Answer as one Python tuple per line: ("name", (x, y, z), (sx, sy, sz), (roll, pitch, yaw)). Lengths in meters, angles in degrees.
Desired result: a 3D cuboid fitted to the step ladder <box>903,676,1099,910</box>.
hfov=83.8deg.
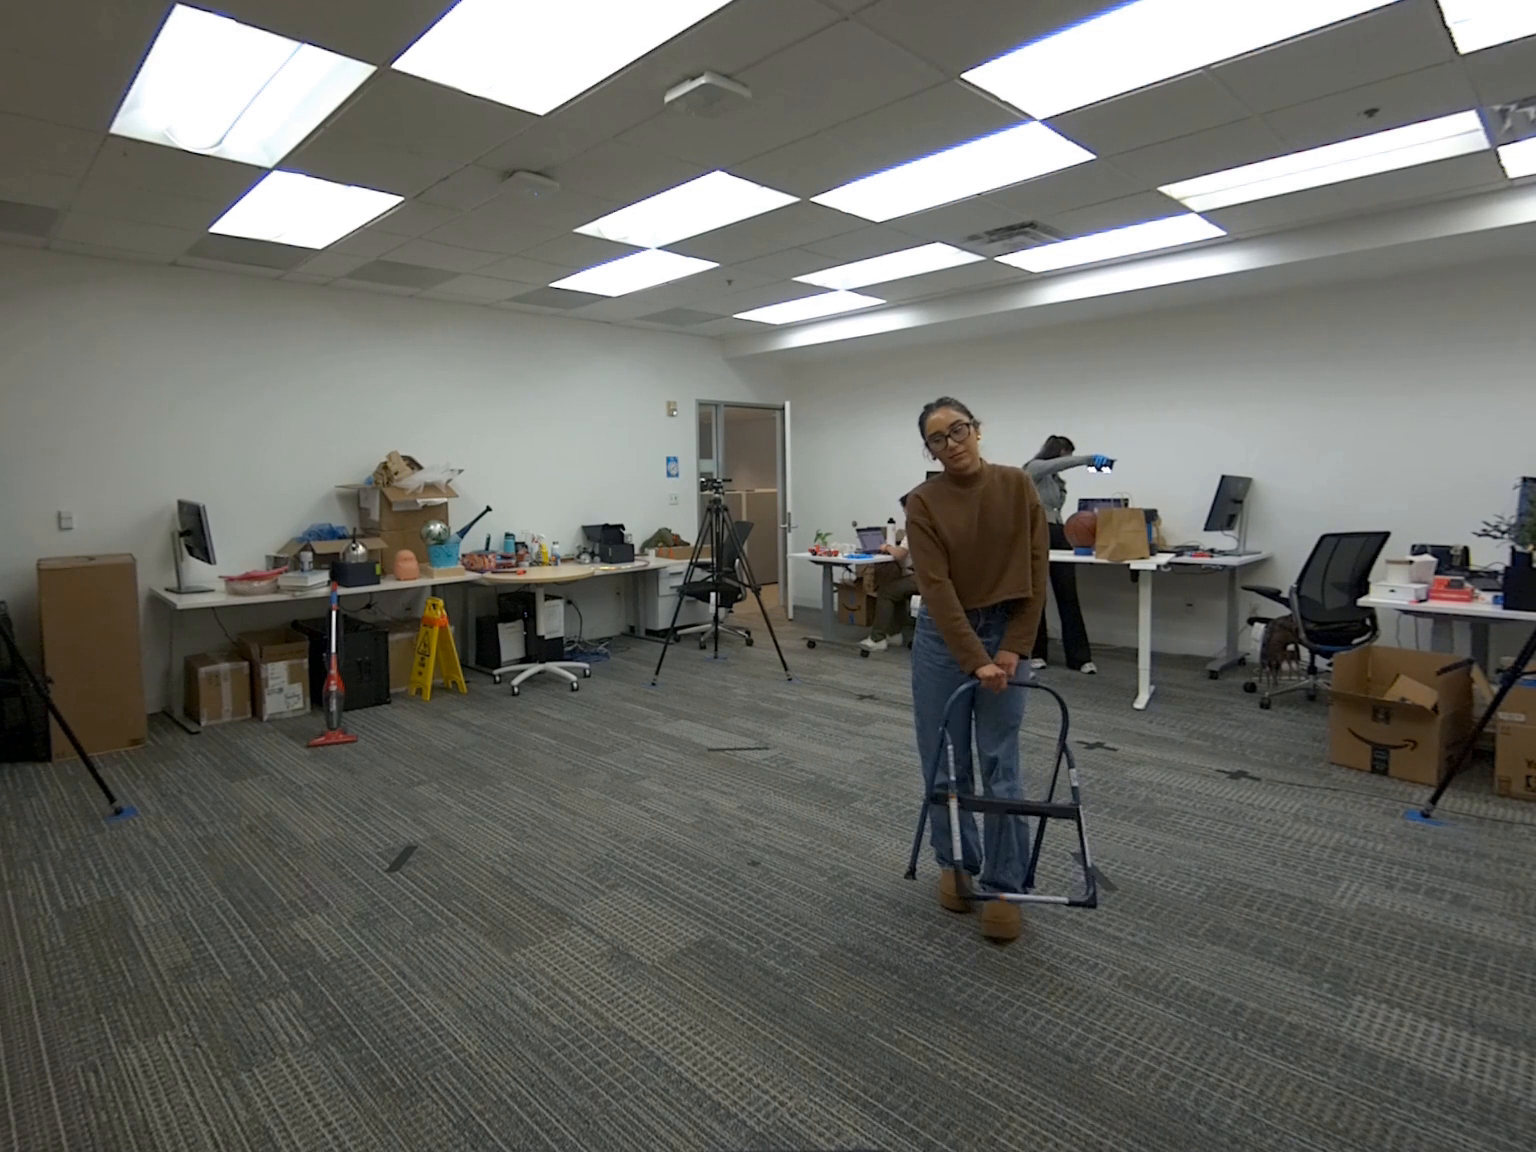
("step ladder", (0.685, 0.617, 2.518), (0.424, 0.612, 0.351), (7, -13, -14))
